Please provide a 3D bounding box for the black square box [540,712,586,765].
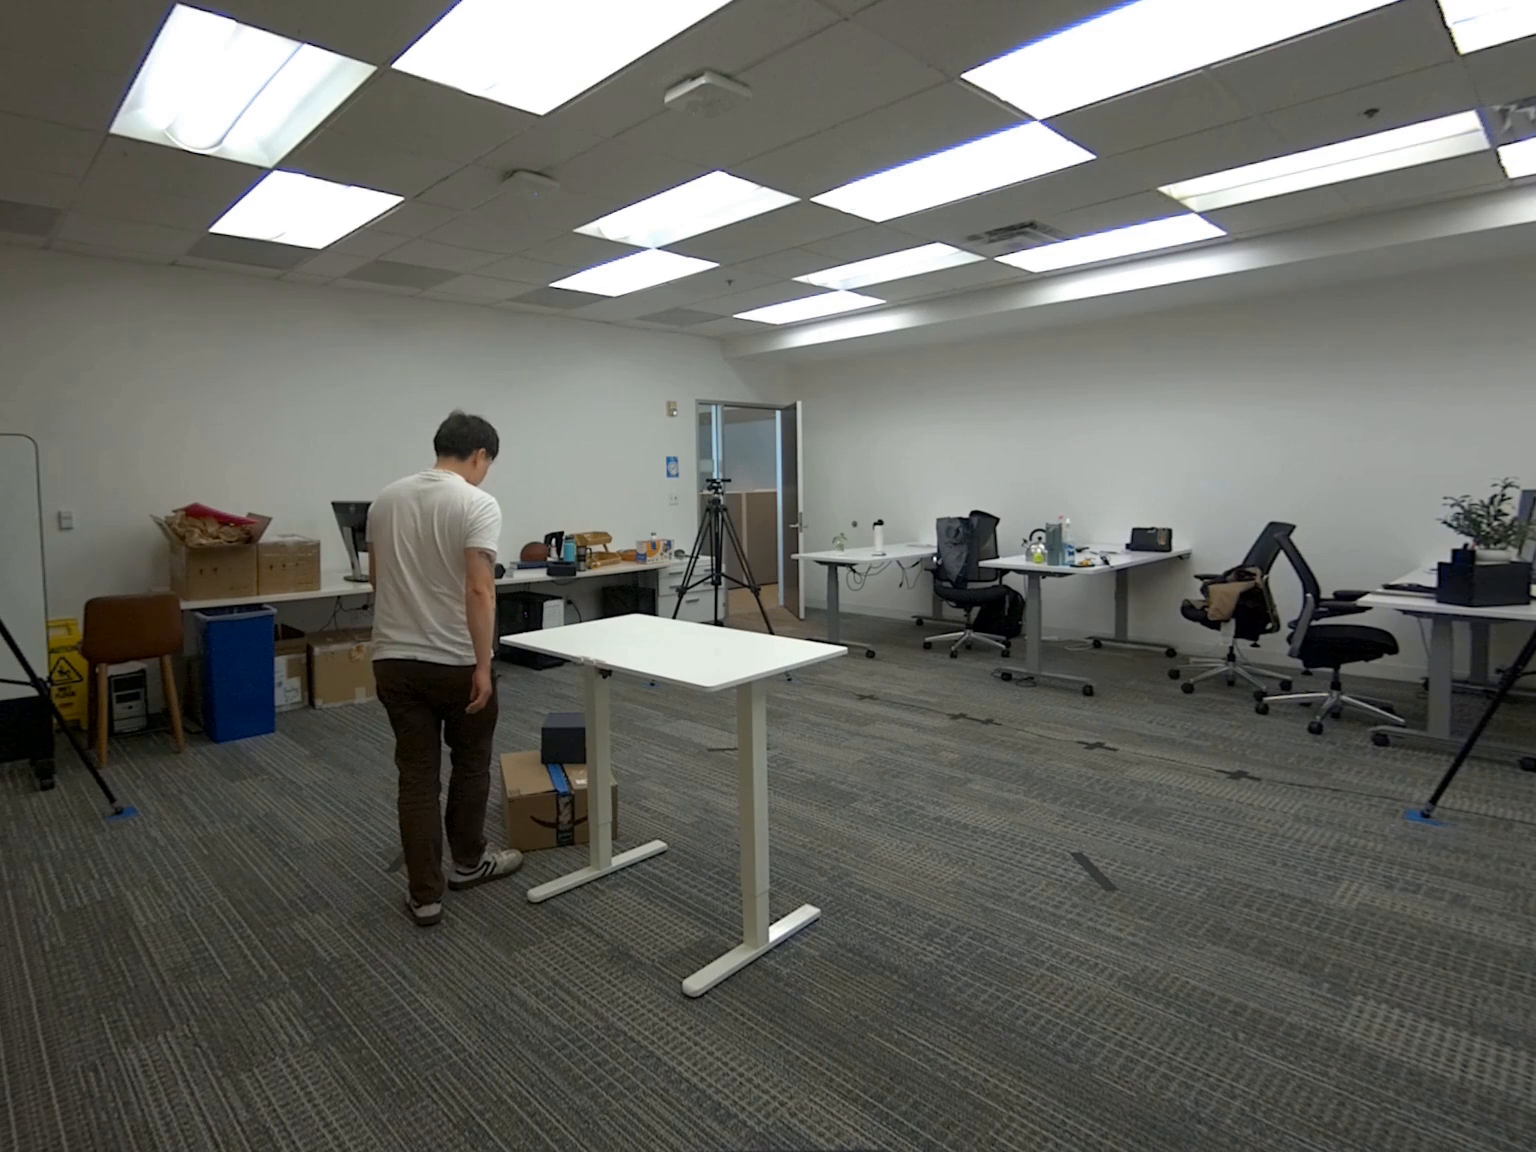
[{"bbox_3d":[-0.852,0.694,3.686,0.216,0.155,0.230,-1,6,-5],"label":"black square box"}]
